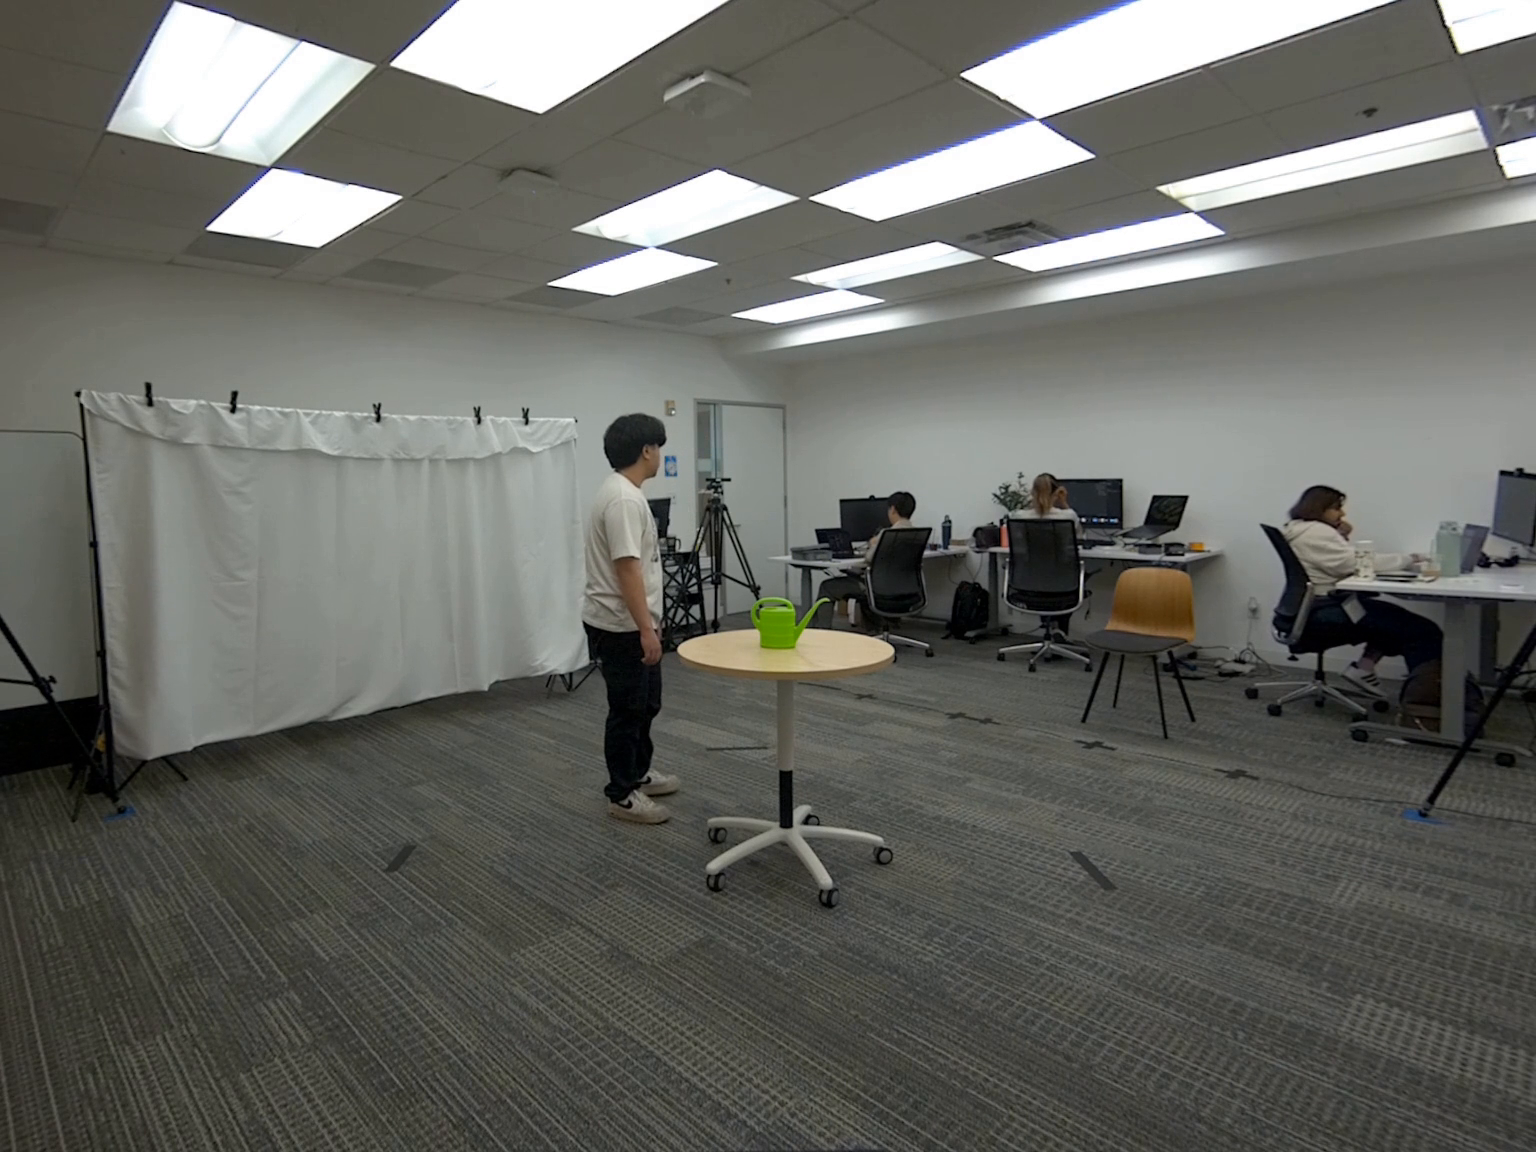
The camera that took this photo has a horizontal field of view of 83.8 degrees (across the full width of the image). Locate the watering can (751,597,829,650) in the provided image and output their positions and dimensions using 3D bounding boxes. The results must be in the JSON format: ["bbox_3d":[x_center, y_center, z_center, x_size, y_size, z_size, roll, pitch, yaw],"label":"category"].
[{"bbox_3d":[0.075,0.170,3.032,0.286,0.176,0.095,1,3,32],"label":"watering can"}]
